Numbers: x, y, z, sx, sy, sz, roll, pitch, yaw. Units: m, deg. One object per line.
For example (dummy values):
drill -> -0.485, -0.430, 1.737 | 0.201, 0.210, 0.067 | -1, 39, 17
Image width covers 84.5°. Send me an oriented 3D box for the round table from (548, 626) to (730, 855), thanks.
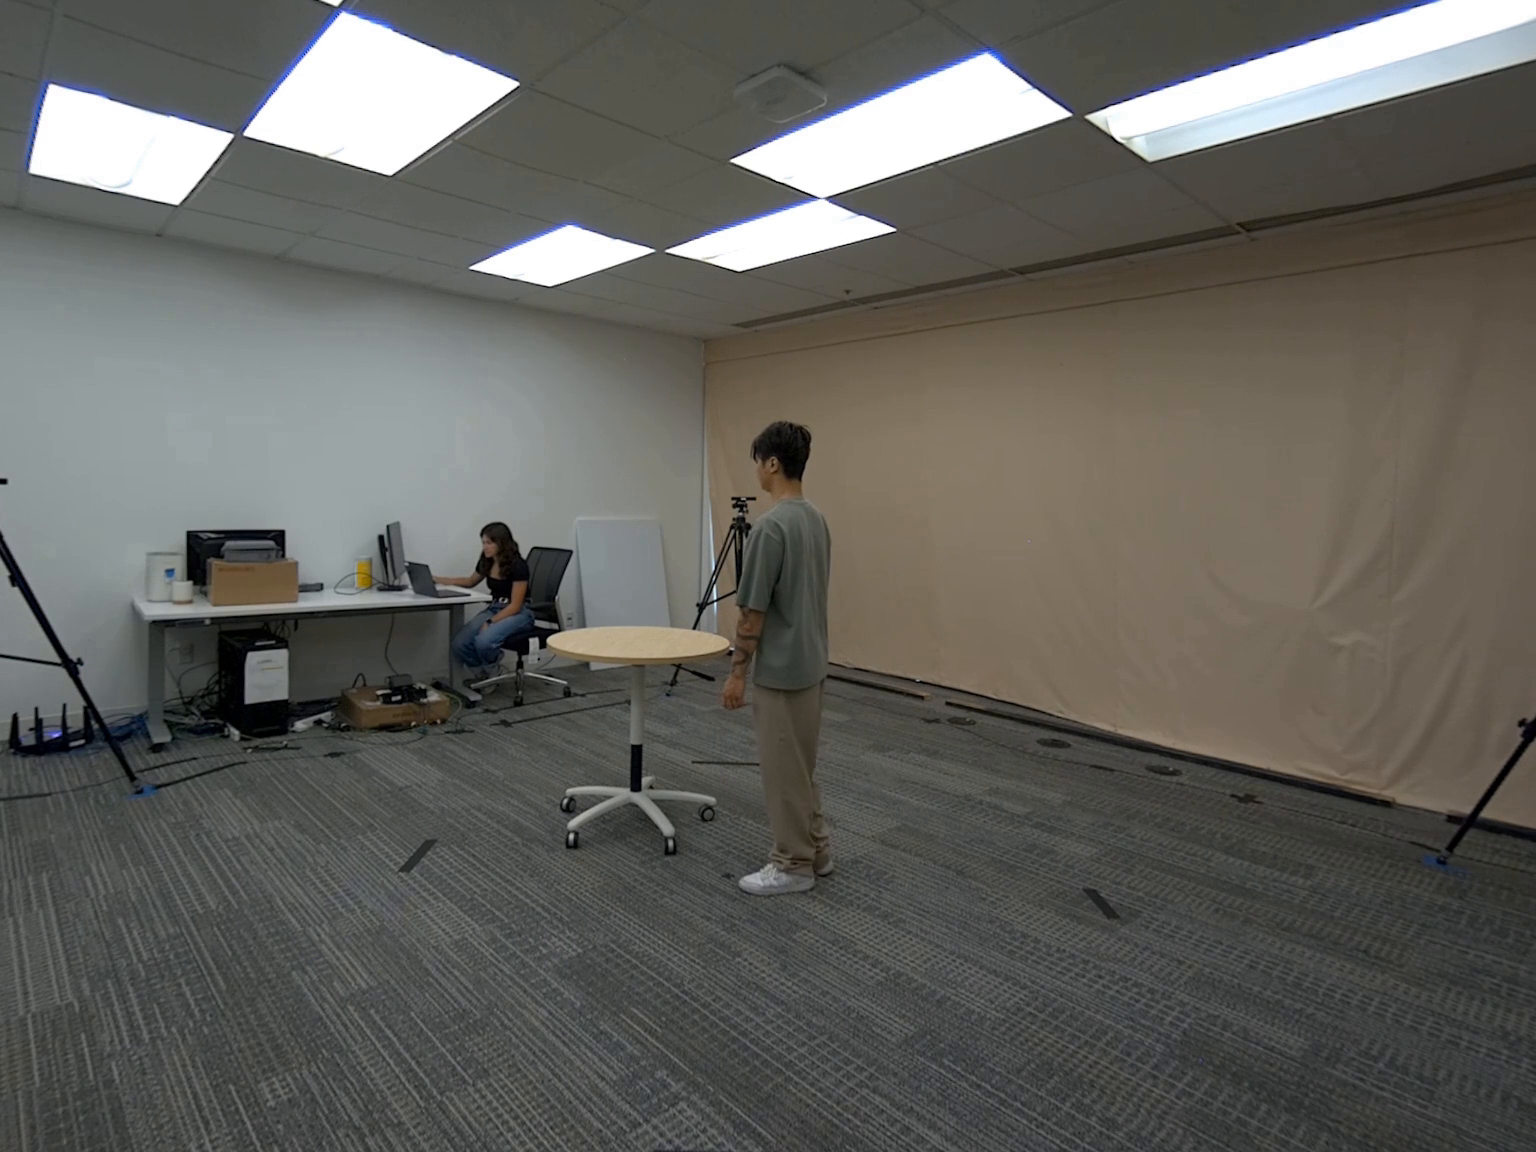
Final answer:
round table -> -0.571, 0.659, 3.578 | 0.784, 0.784, 0.788 | 2, 4, -2
